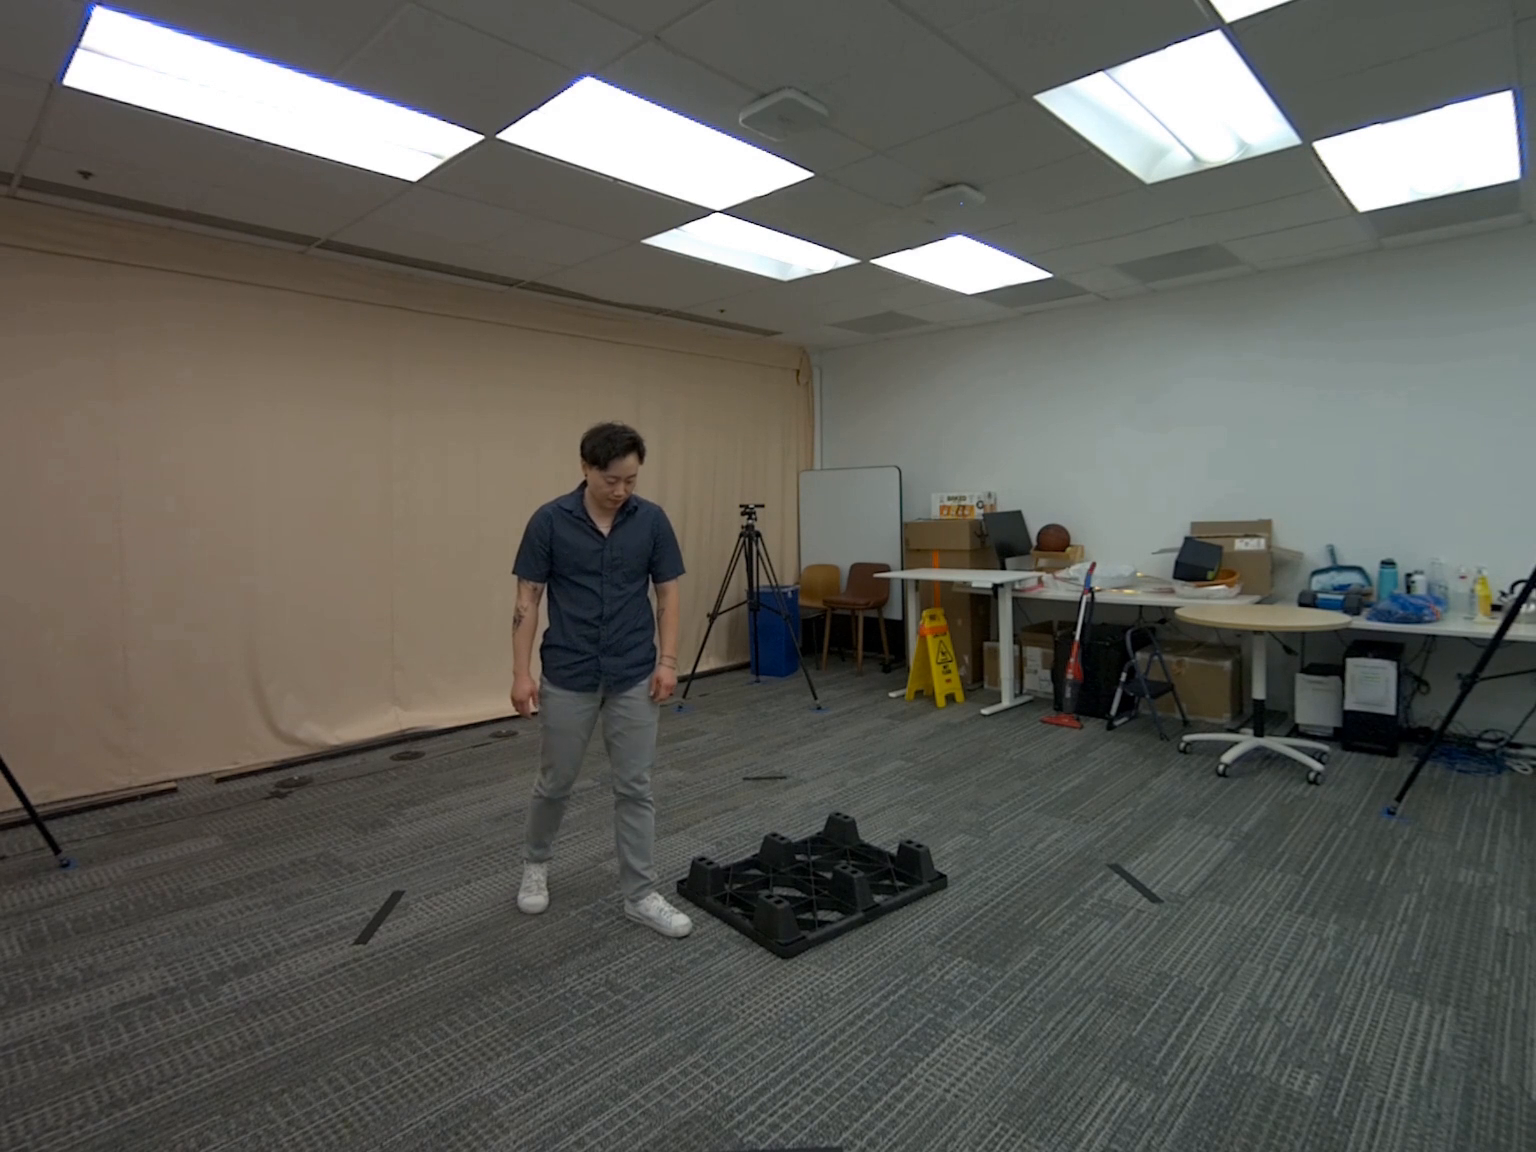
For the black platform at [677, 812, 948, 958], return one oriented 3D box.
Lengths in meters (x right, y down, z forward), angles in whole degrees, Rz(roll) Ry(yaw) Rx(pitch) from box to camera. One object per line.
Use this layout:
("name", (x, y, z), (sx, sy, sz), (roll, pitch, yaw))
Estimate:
("black platform", (0.161, 1.064, 3.030), (0.782, 0.143, 0.625), (-6, 6, -39))
